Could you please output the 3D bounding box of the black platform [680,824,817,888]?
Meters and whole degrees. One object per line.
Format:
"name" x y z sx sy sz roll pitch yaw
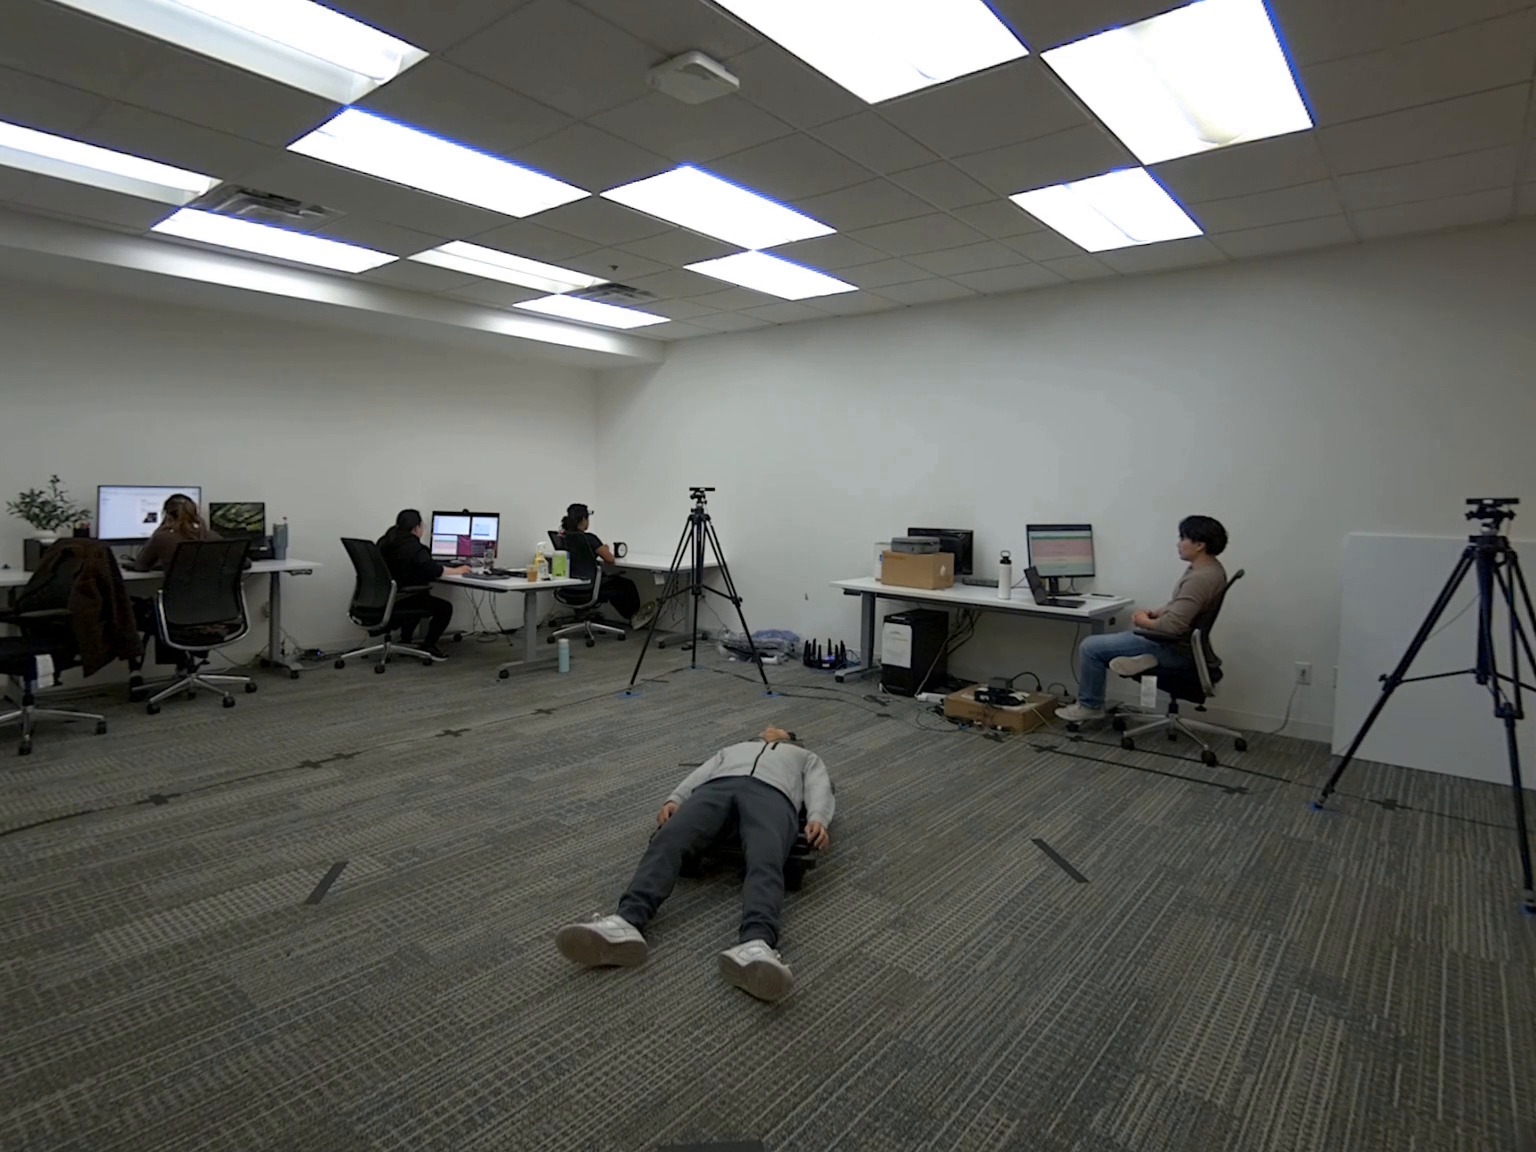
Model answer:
"black platform" -0.079 0.953 3.352 0.613 0.143 0.796 -3 4 12
